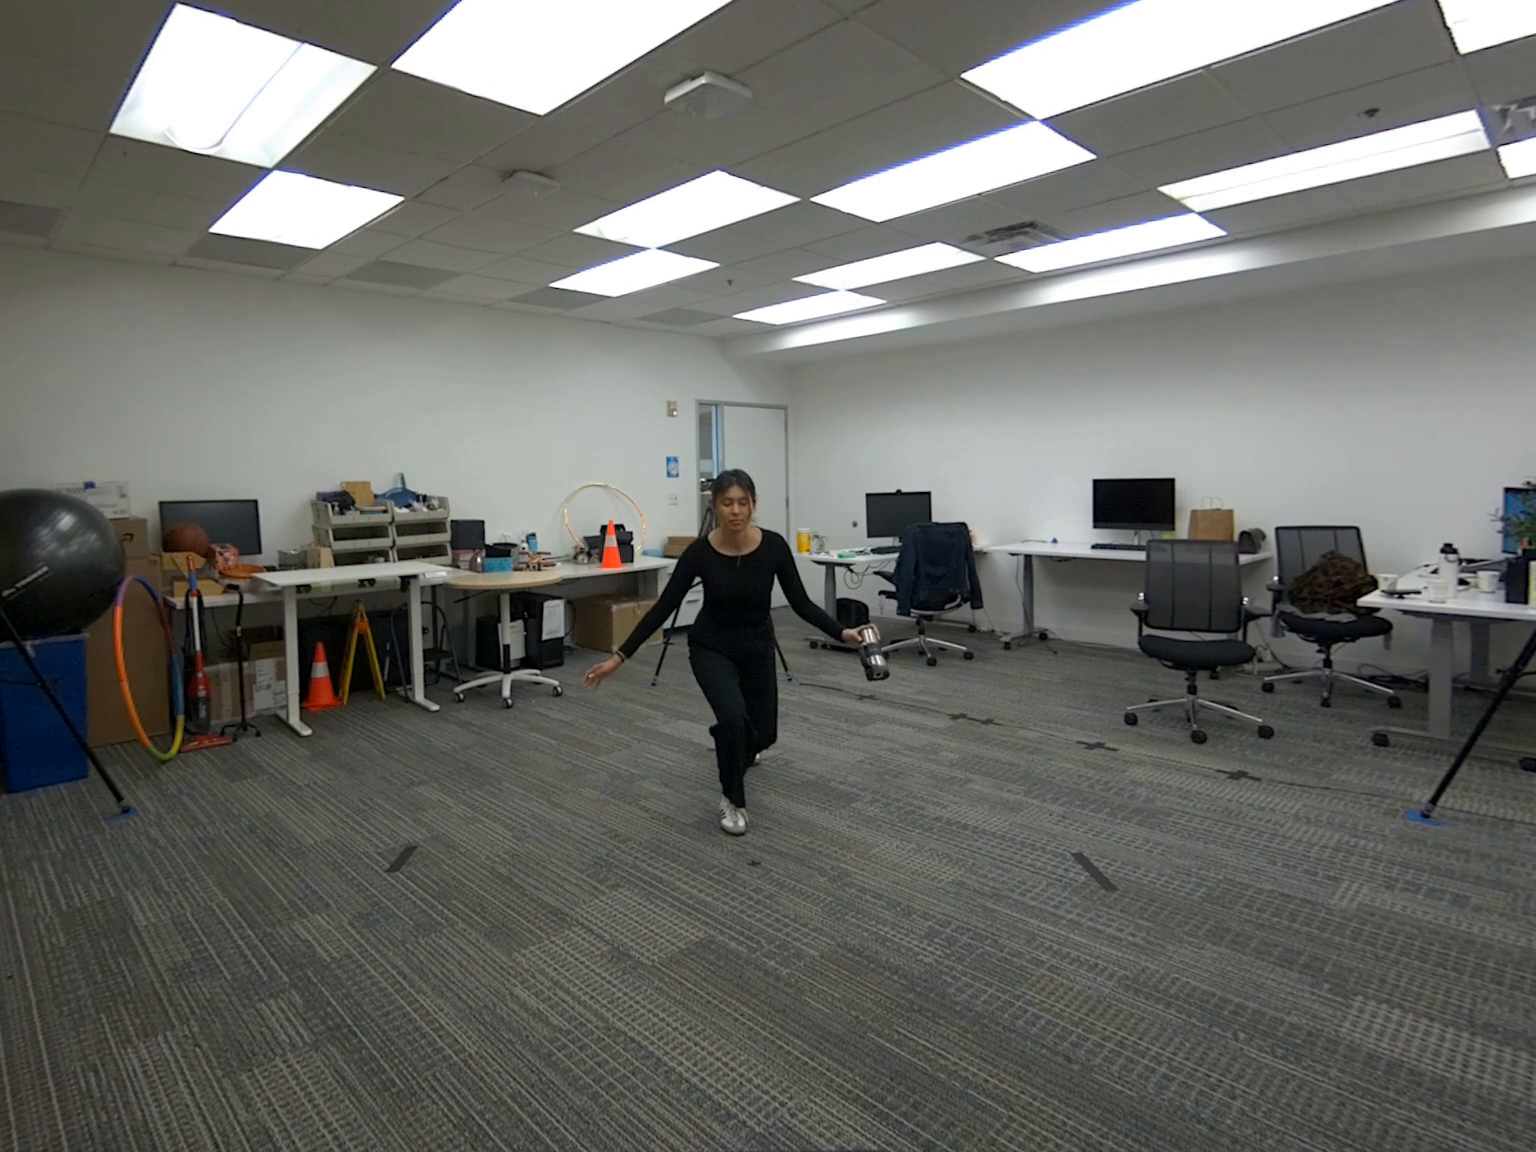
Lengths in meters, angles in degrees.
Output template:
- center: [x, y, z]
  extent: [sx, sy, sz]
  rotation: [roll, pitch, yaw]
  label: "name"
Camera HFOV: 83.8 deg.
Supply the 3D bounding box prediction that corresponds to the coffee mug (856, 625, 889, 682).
- center: [0.378, 0.277, 3.193]
  extent: [0.085, 0.208, 0.122]
  rotation: [21, -43, -25]
  label: "coffee mug"
